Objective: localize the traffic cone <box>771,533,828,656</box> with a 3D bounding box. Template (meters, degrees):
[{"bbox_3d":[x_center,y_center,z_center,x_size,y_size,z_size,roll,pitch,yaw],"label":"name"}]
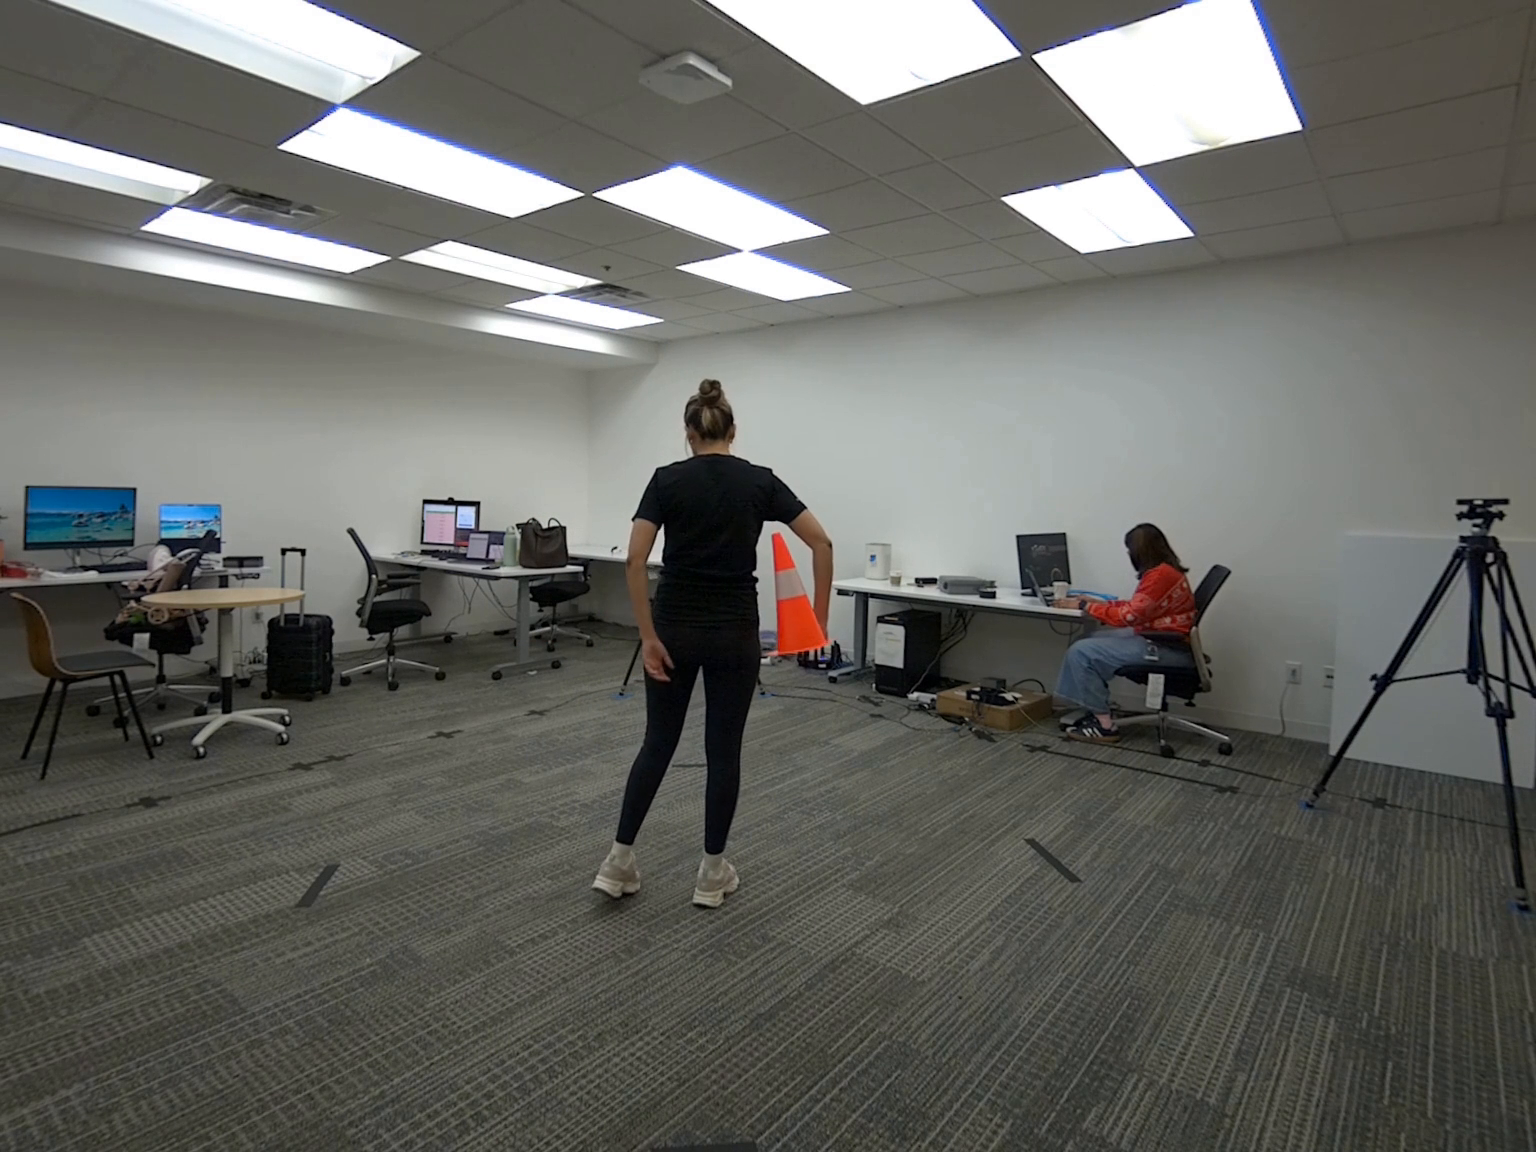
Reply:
[{"bbox_3d":[0.052,0.045,2.763,0.206,0.384,0.202,-11,0,5],"label":"traffic cone"}]
